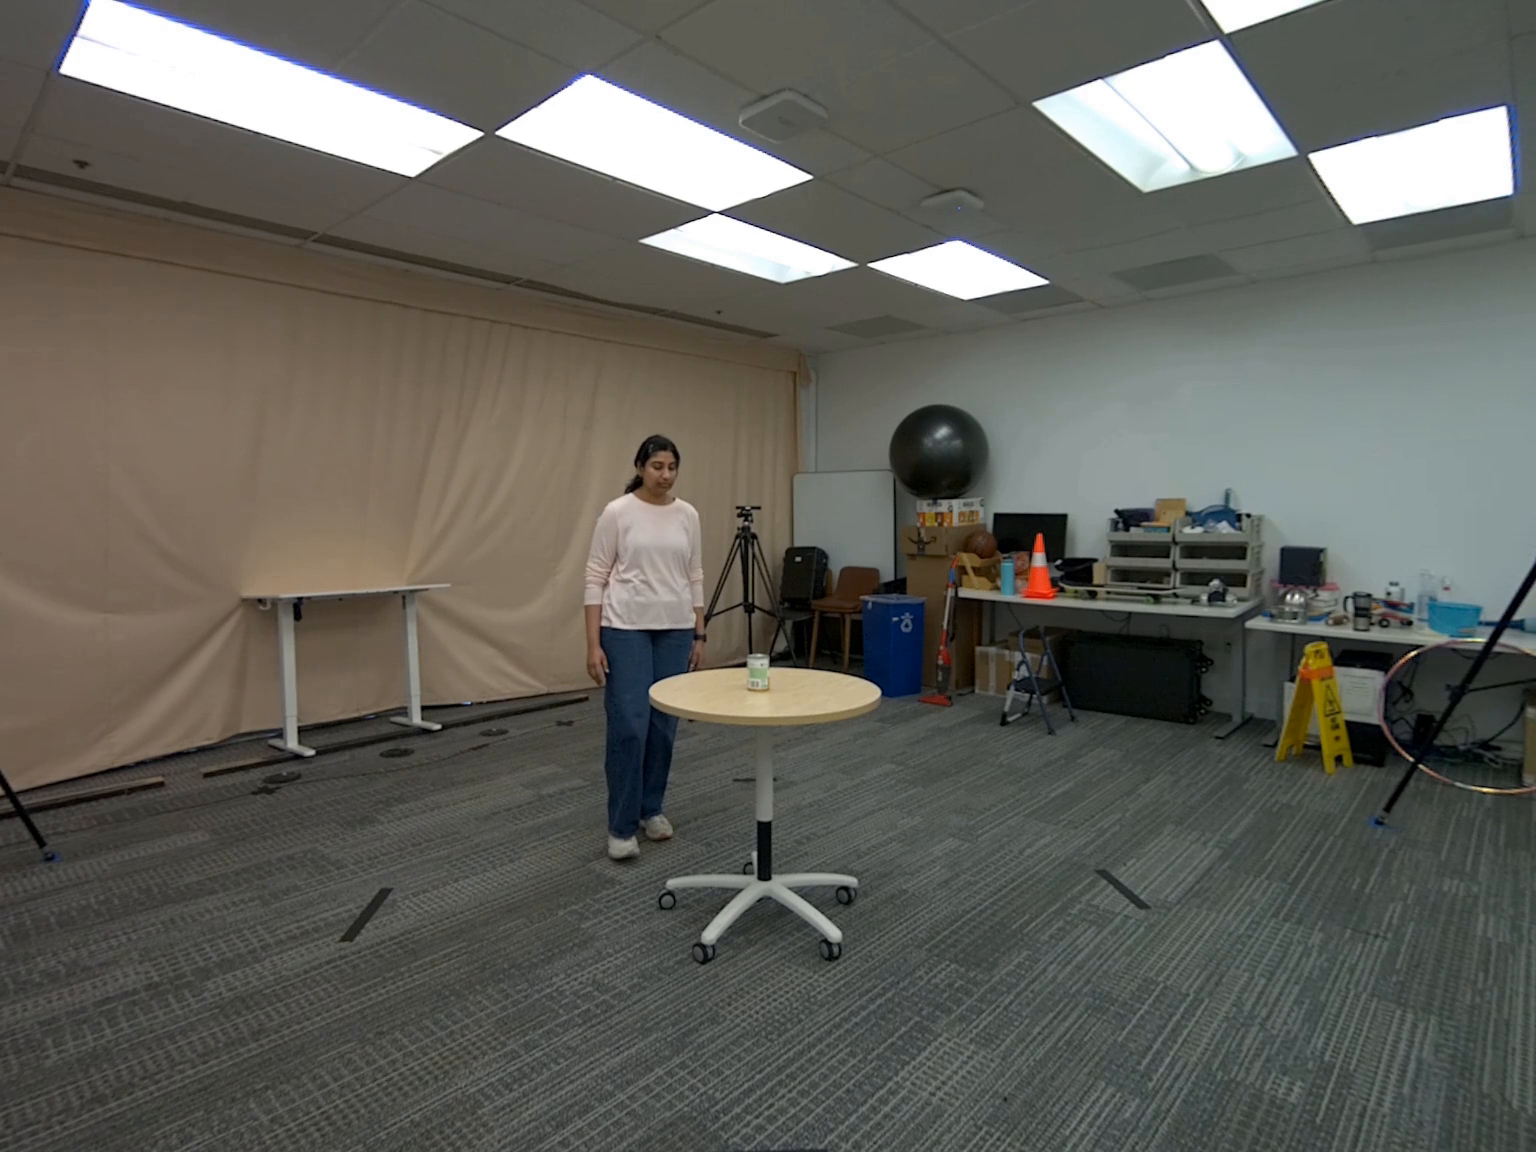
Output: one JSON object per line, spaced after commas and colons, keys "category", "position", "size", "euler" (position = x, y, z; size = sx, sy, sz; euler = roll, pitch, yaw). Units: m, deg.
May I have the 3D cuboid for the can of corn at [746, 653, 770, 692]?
{"category": "can of corn", "position": [-0.027, 0.322, 2.785], "size": [0.074, 0.111, 0.074], "euler": [1, 3, -2]}
